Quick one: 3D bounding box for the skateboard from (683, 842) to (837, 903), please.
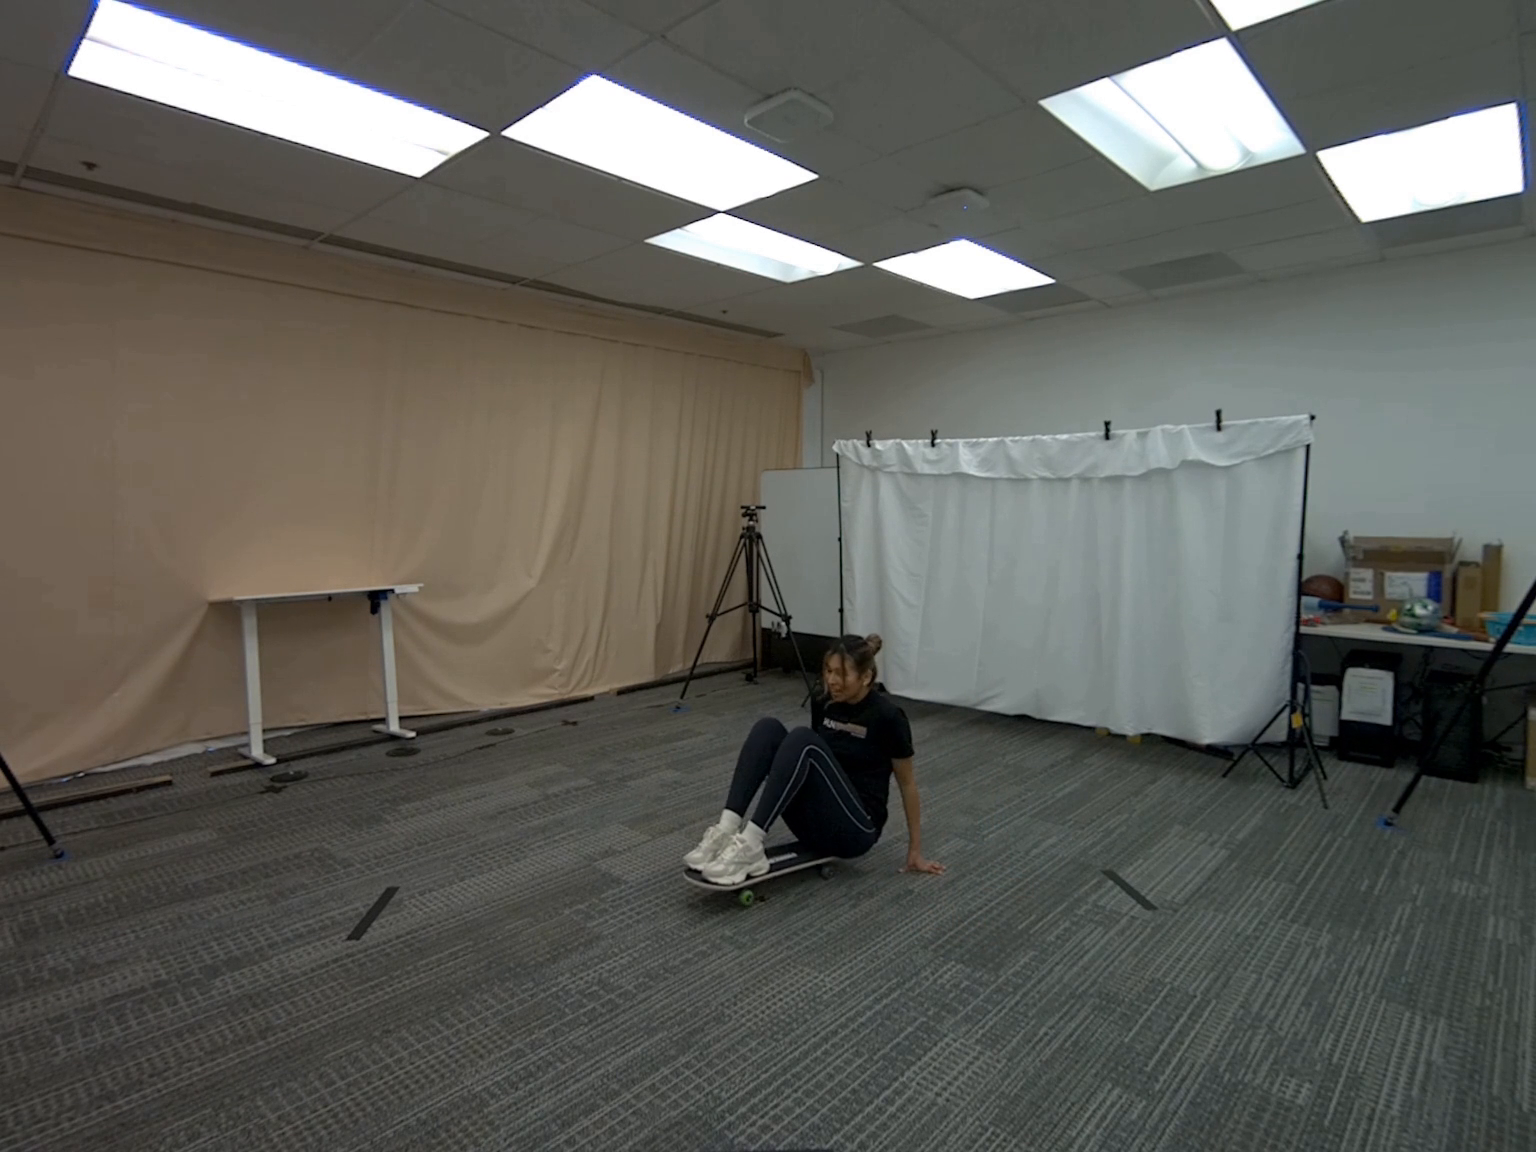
[{"bbox_3d":[0.027,1.081,3.104,0.761,0.110,0.200,-1,5,-40],"label":"skateboard"}]
